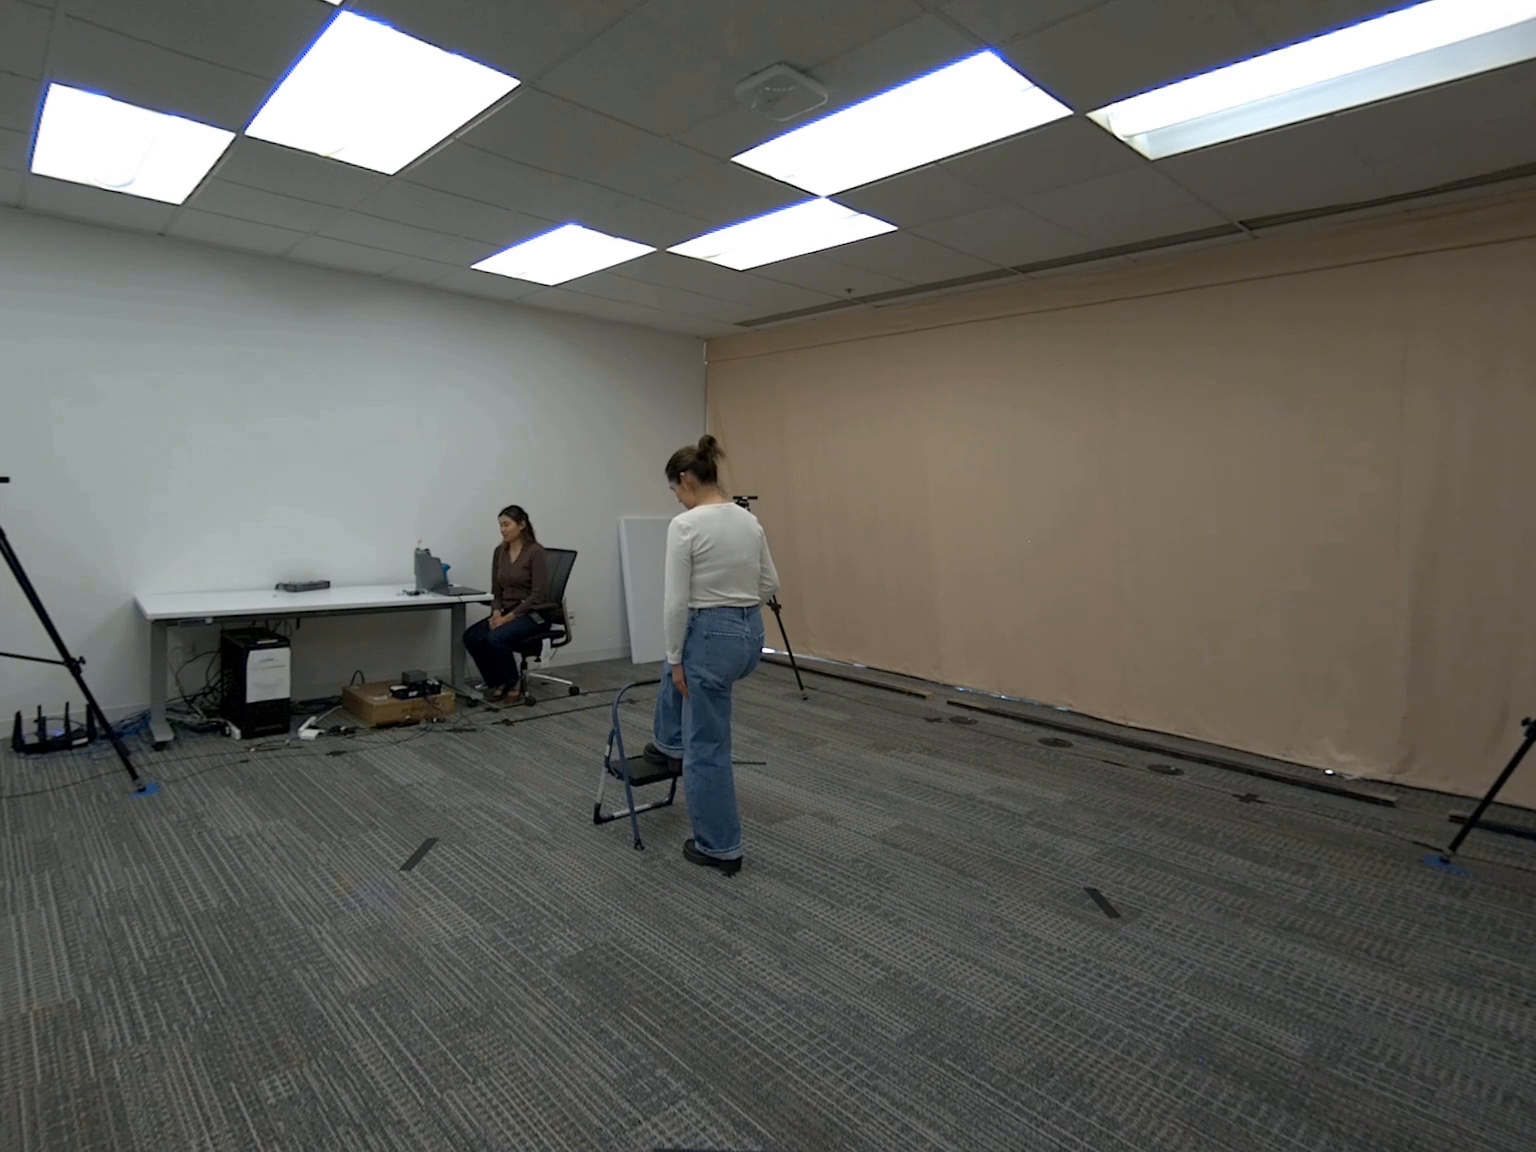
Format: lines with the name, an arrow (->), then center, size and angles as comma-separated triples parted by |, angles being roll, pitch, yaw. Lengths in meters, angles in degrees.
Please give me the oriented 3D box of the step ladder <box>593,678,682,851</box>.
step ladder -> -0.476, 0.753, 3.556 | 0.421, 0.605, 0.358 | -2, 4, -44
